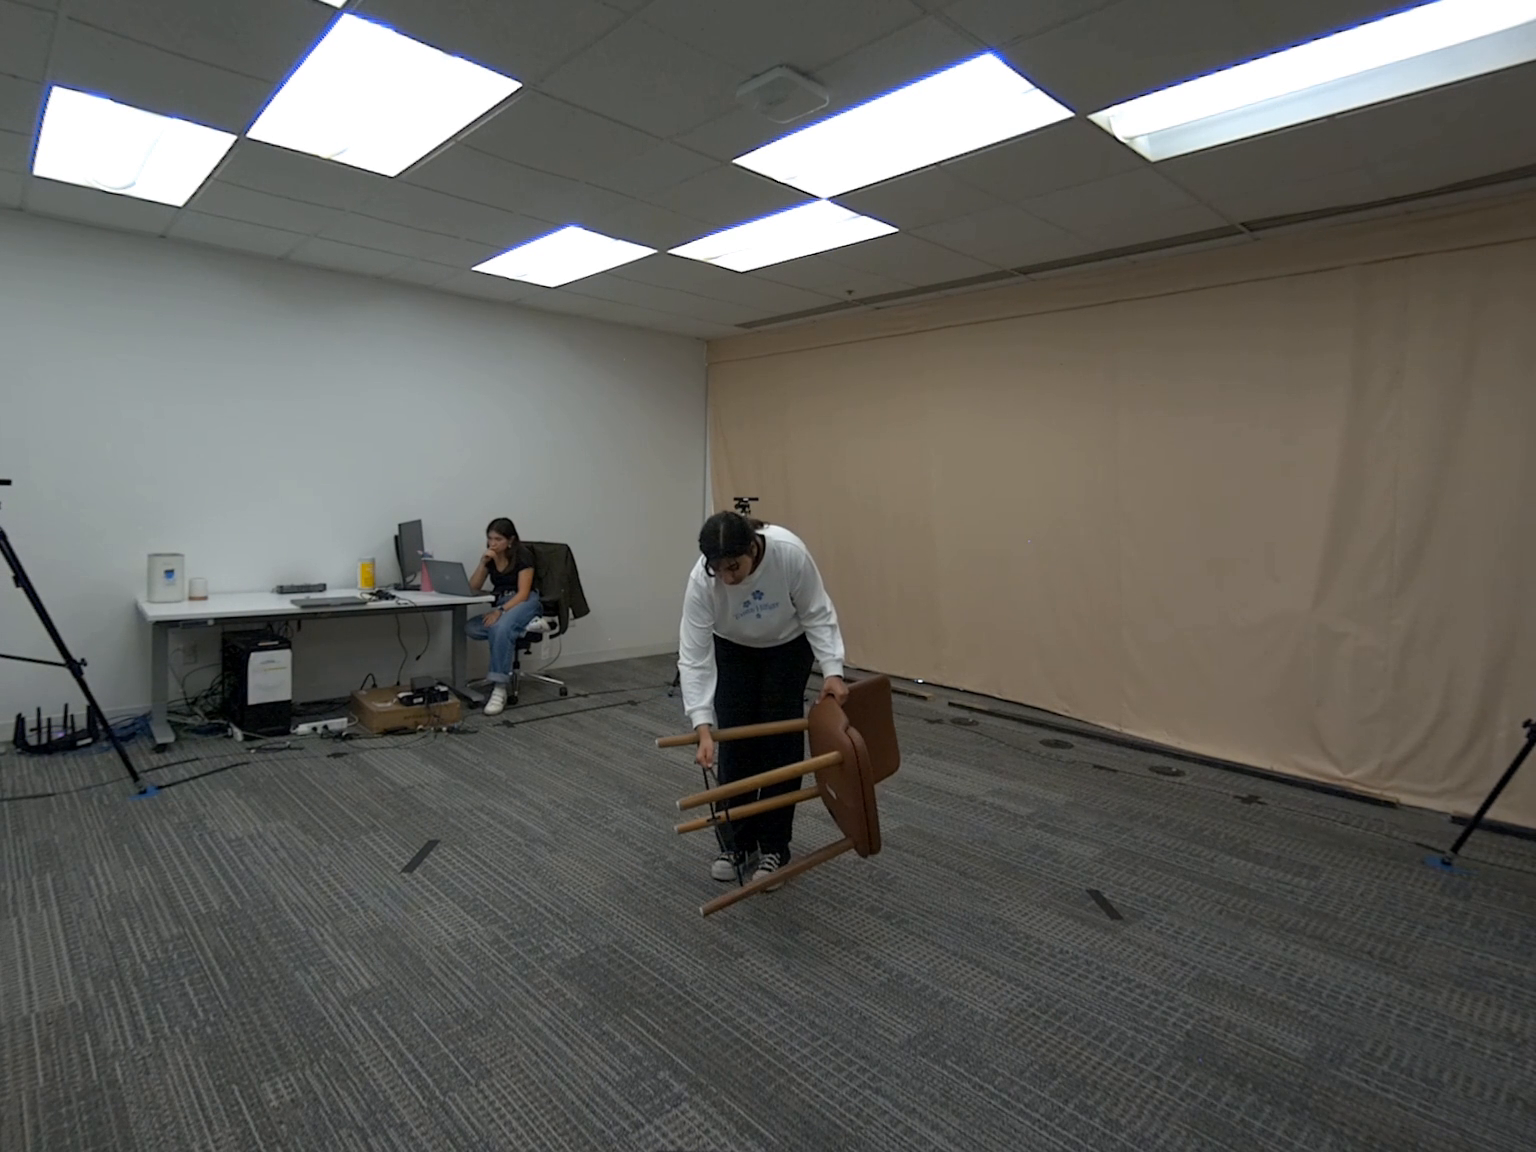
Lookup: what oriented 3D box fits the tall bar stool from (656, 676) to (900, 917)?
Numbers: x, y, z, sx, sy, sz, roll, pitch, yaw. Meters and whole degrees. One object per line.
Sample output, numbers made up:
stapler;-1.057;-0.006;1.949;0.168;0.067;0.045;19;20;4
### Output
tall bar stool;0.103;0.683;2.806;0.882;0.450;0.478;-14;17;-13
